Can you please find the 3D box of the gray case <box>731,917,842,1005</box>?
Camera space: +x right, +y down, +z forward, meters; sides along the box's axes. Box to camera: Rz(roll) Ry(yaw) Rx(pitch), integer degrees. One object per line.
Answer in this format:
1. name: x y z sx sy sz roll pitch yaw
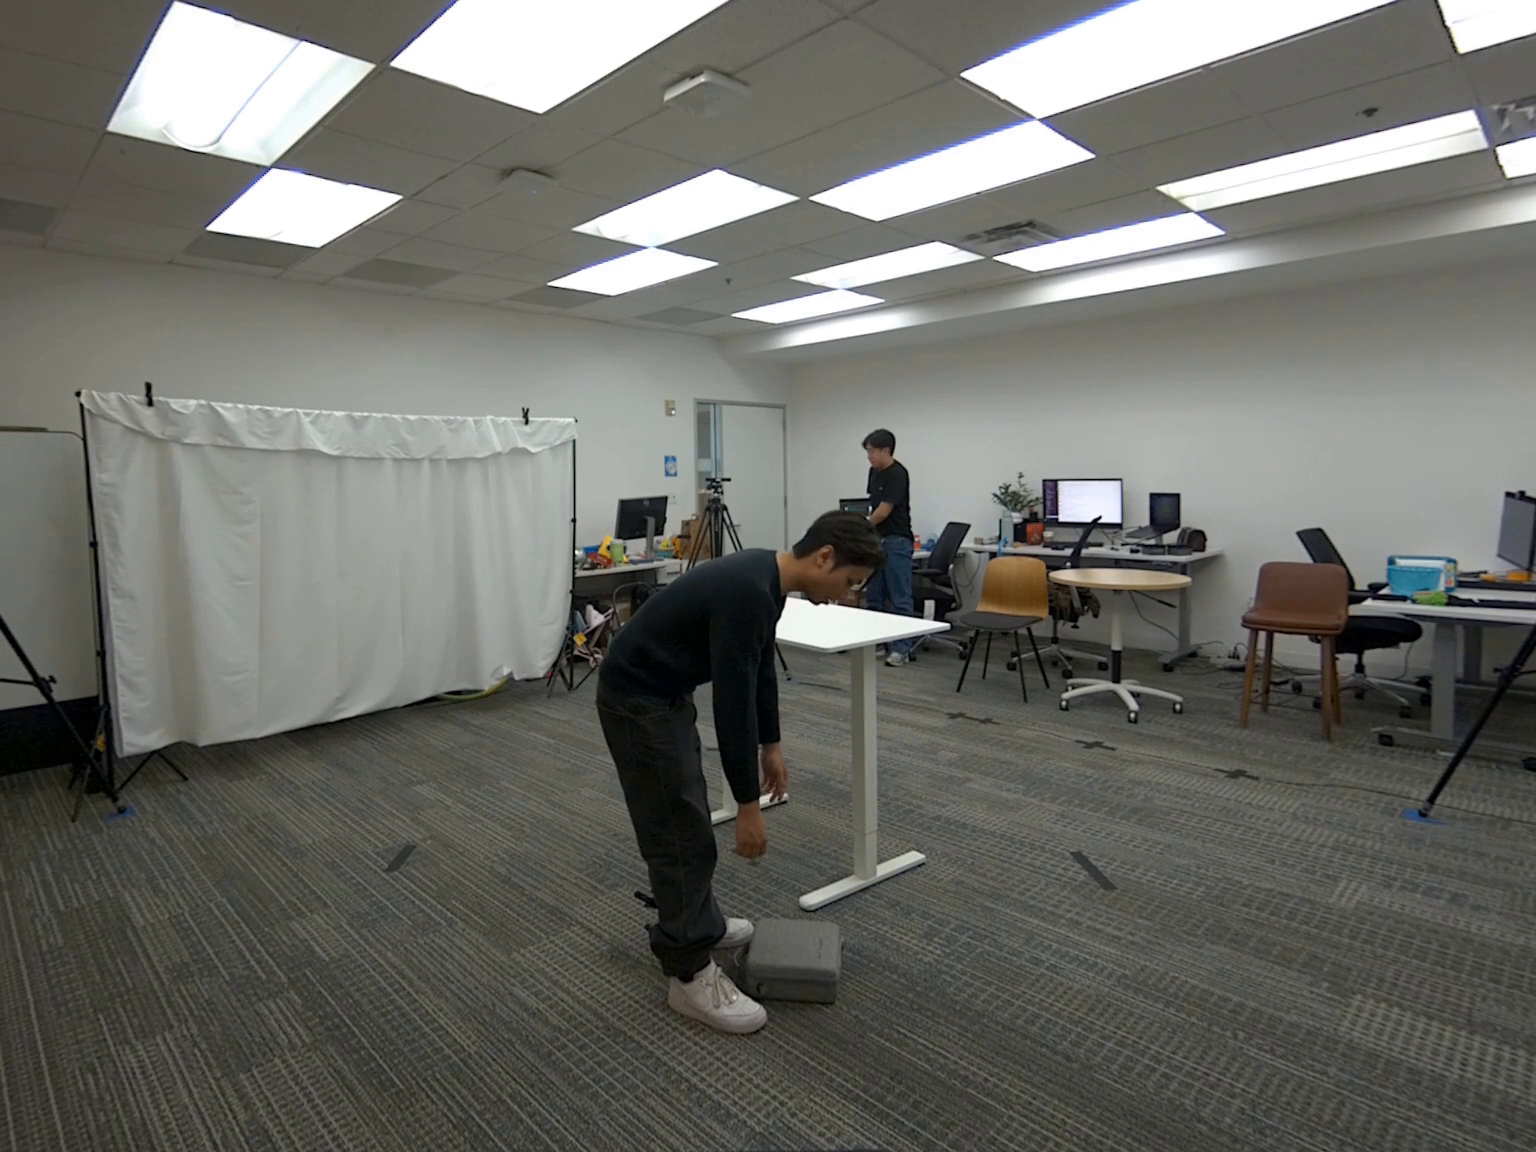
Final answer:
1. gray case: 0.071 1.066 2.392 0.263 0.104 0.256 -1 6 8
